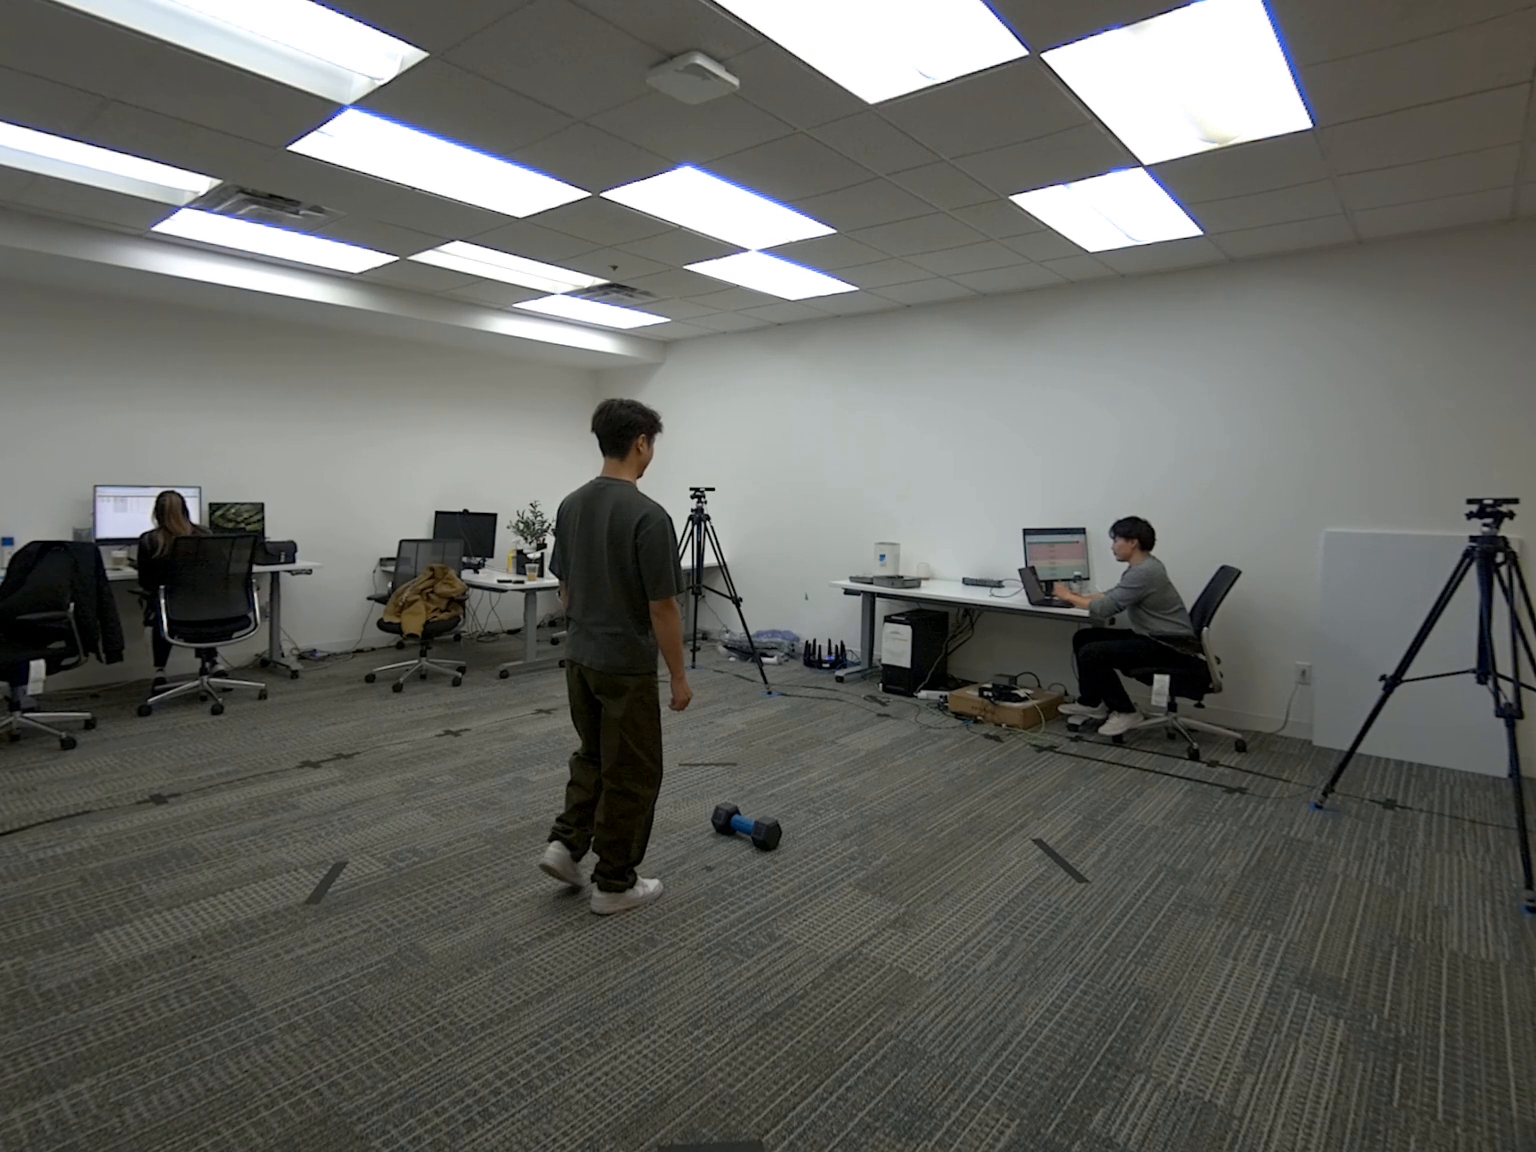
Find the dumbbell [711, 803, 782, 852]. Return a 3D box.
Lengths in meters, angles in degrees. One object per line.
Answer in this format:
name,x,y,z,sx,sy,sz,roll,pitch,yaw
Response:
dumbbell,-0.096,0.987,3.376,0.304,0.124,0.104,6,-25,41
